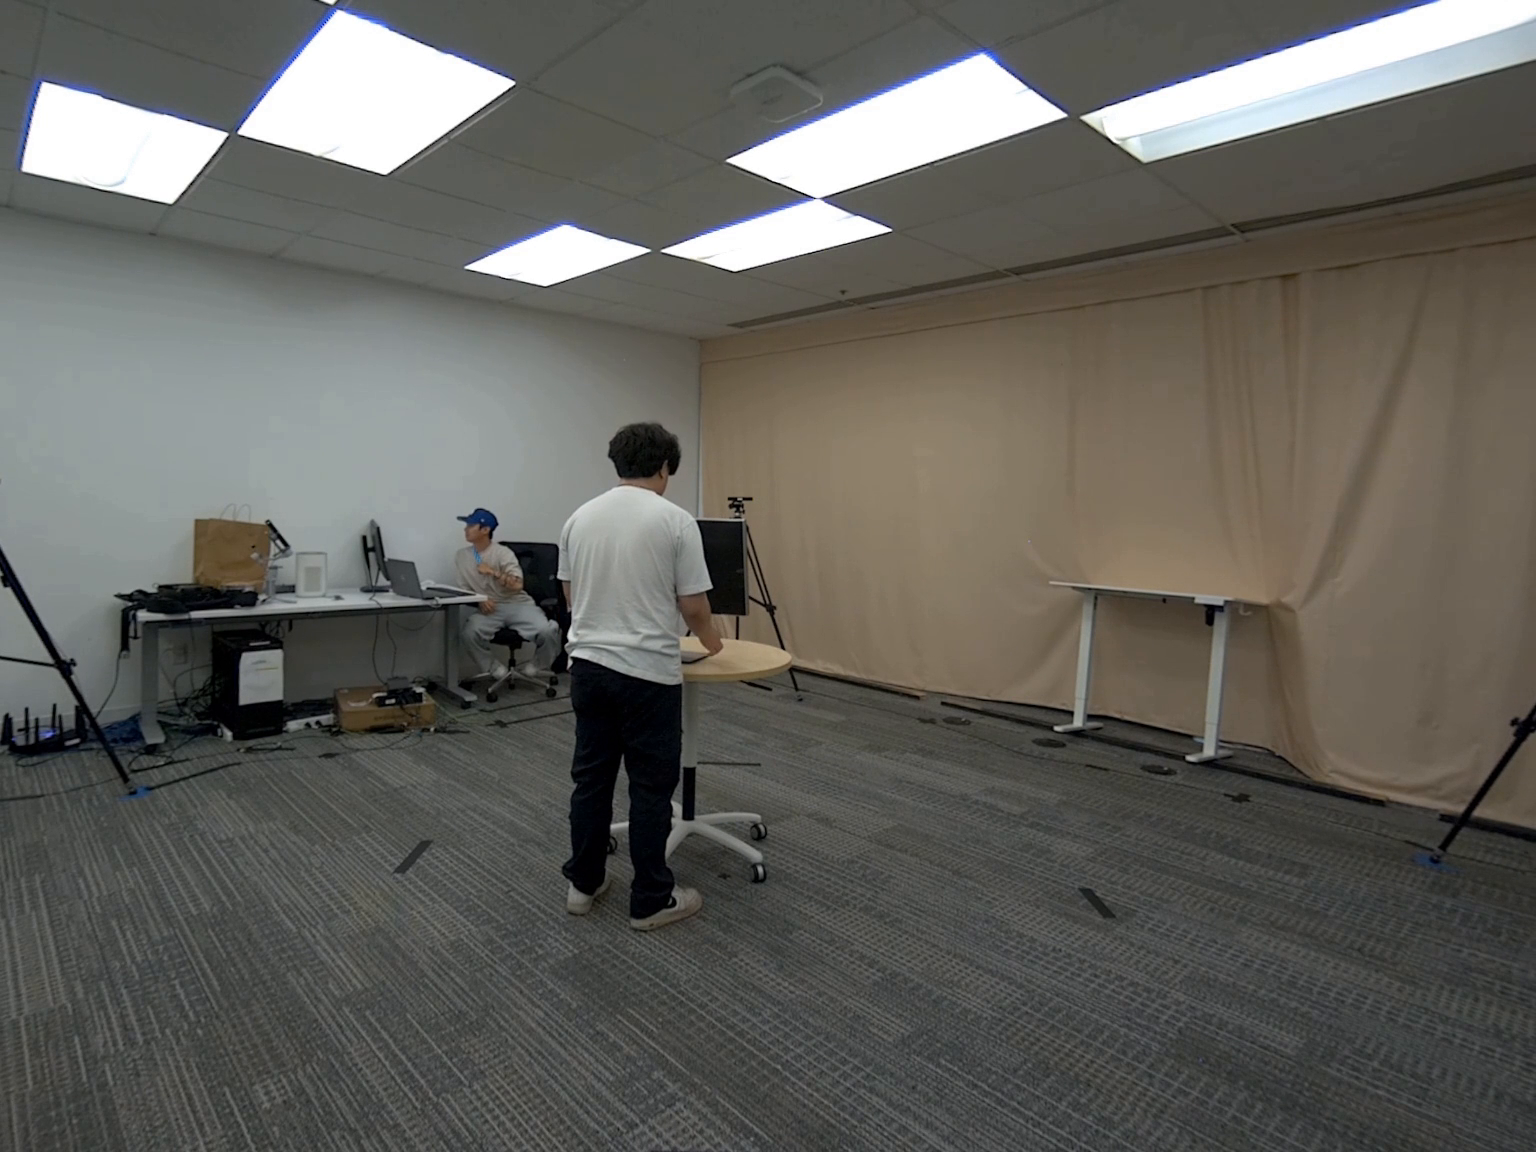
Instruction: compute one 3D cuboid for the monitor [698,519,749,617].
[{"bbox_3d":[-0.380,0.055,3.129,0.575,0.551,0.207,3,7,22],"label":"monitor"}]
